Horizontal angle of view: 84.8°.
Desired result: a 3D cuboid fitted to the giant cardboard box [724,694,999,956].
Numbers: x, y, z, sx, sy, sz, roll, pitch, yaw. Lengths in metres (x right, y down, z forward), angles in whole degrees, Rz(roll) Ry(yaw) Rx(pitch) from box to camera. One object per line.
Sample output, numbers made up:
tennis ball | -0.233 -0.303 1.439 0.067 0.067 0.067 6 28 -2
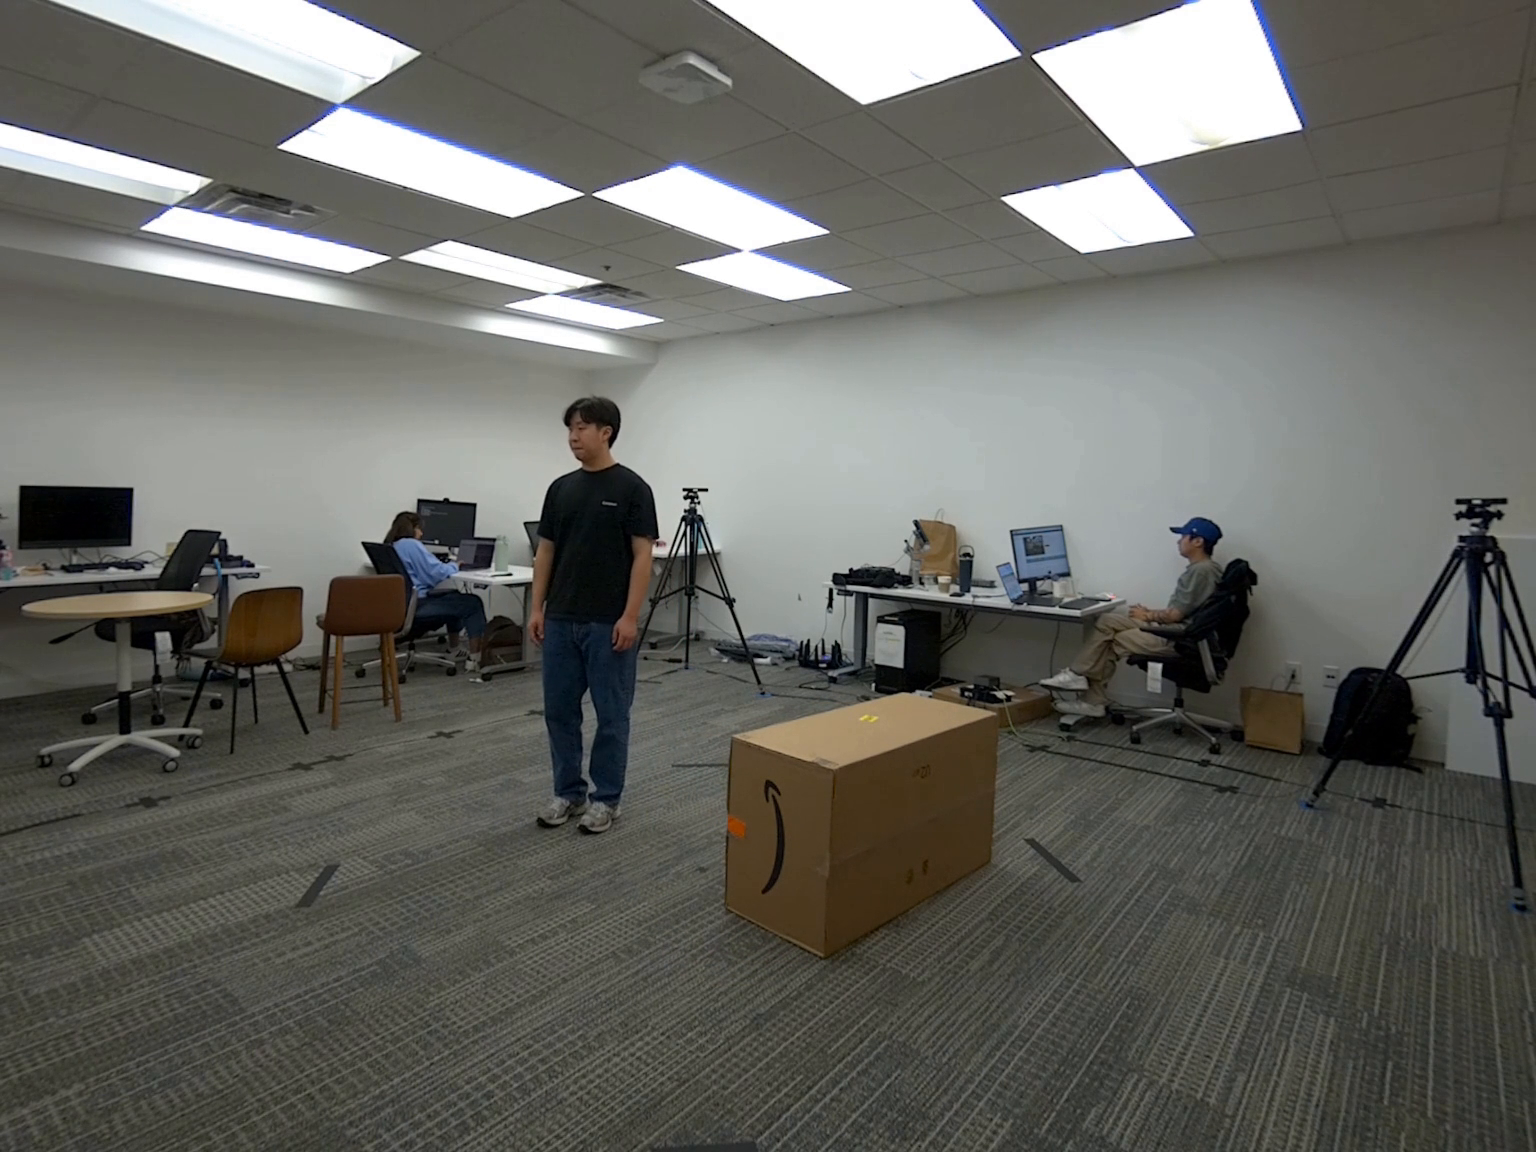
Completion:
giant cardboard box | 0.354 0.805 3.013 0.462 0.582 0.996 4 5 43
